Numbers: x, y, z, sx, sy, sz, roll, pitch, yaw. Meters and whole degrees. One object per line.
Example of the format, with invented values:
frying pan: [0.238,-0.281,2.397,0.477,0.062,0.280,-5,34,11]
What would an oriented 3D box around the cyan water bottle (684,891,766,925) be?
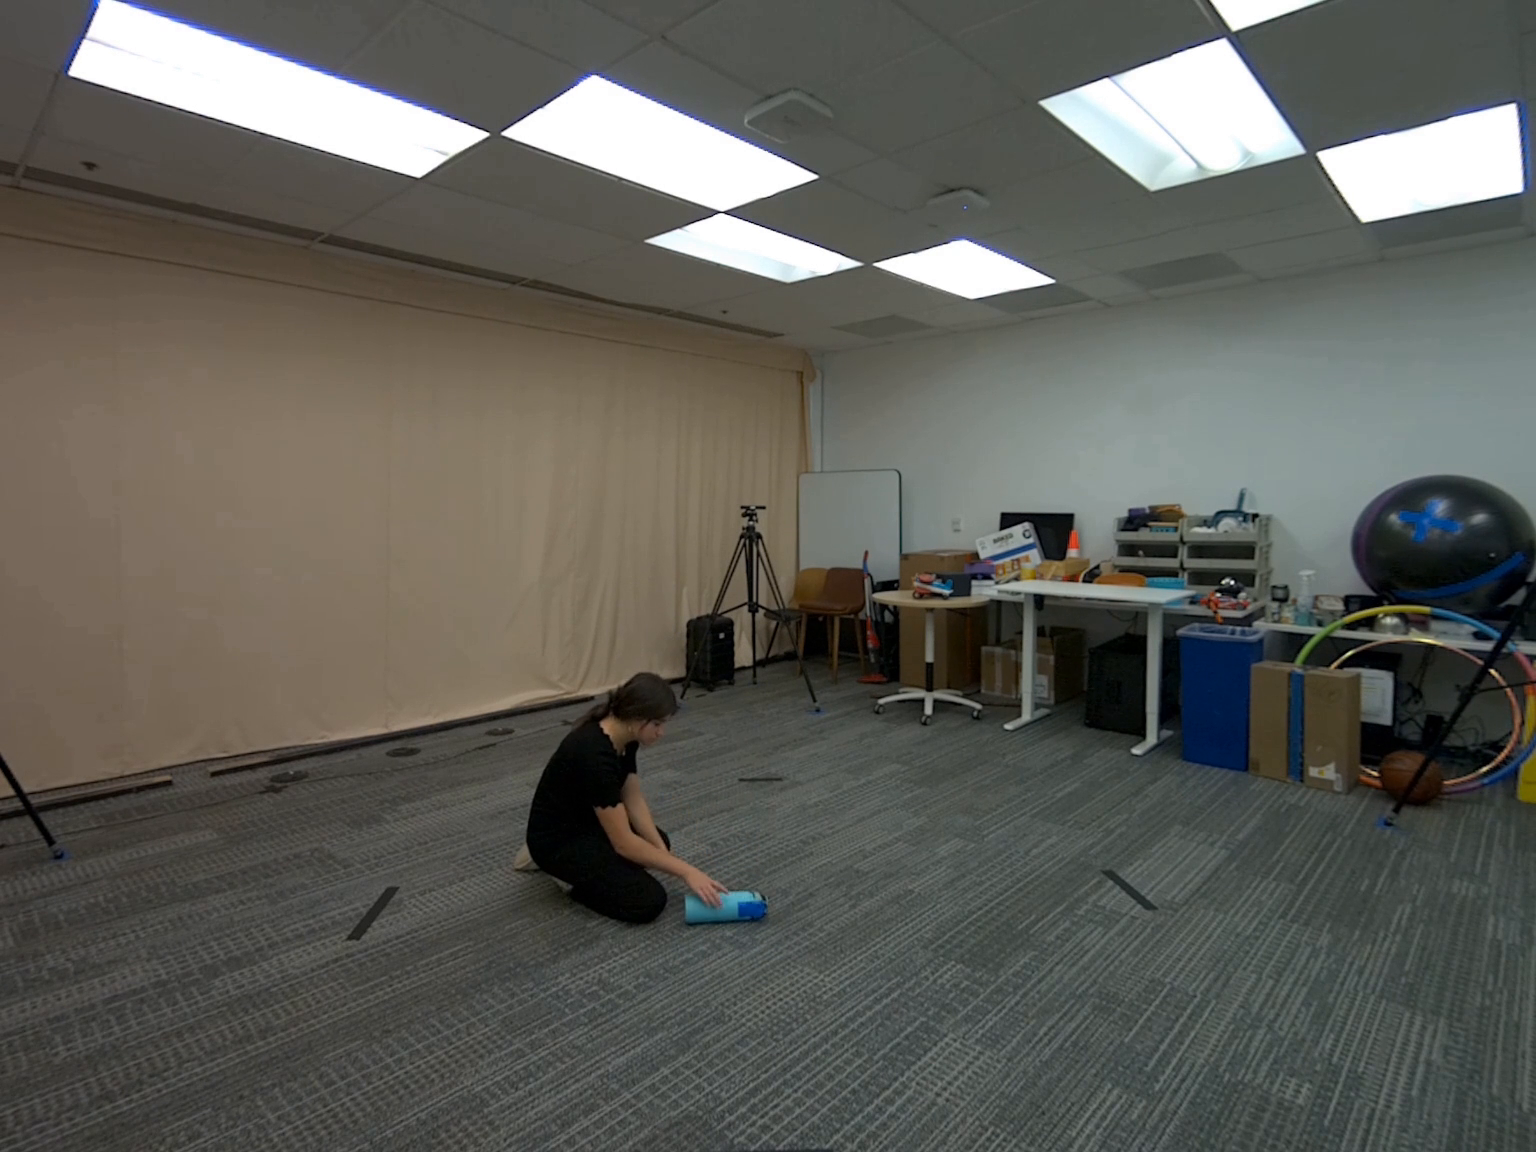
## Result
cyan water bottle: [-0.135,1.120,2.818,0.282,0.092,0.093,4,3,-5]
